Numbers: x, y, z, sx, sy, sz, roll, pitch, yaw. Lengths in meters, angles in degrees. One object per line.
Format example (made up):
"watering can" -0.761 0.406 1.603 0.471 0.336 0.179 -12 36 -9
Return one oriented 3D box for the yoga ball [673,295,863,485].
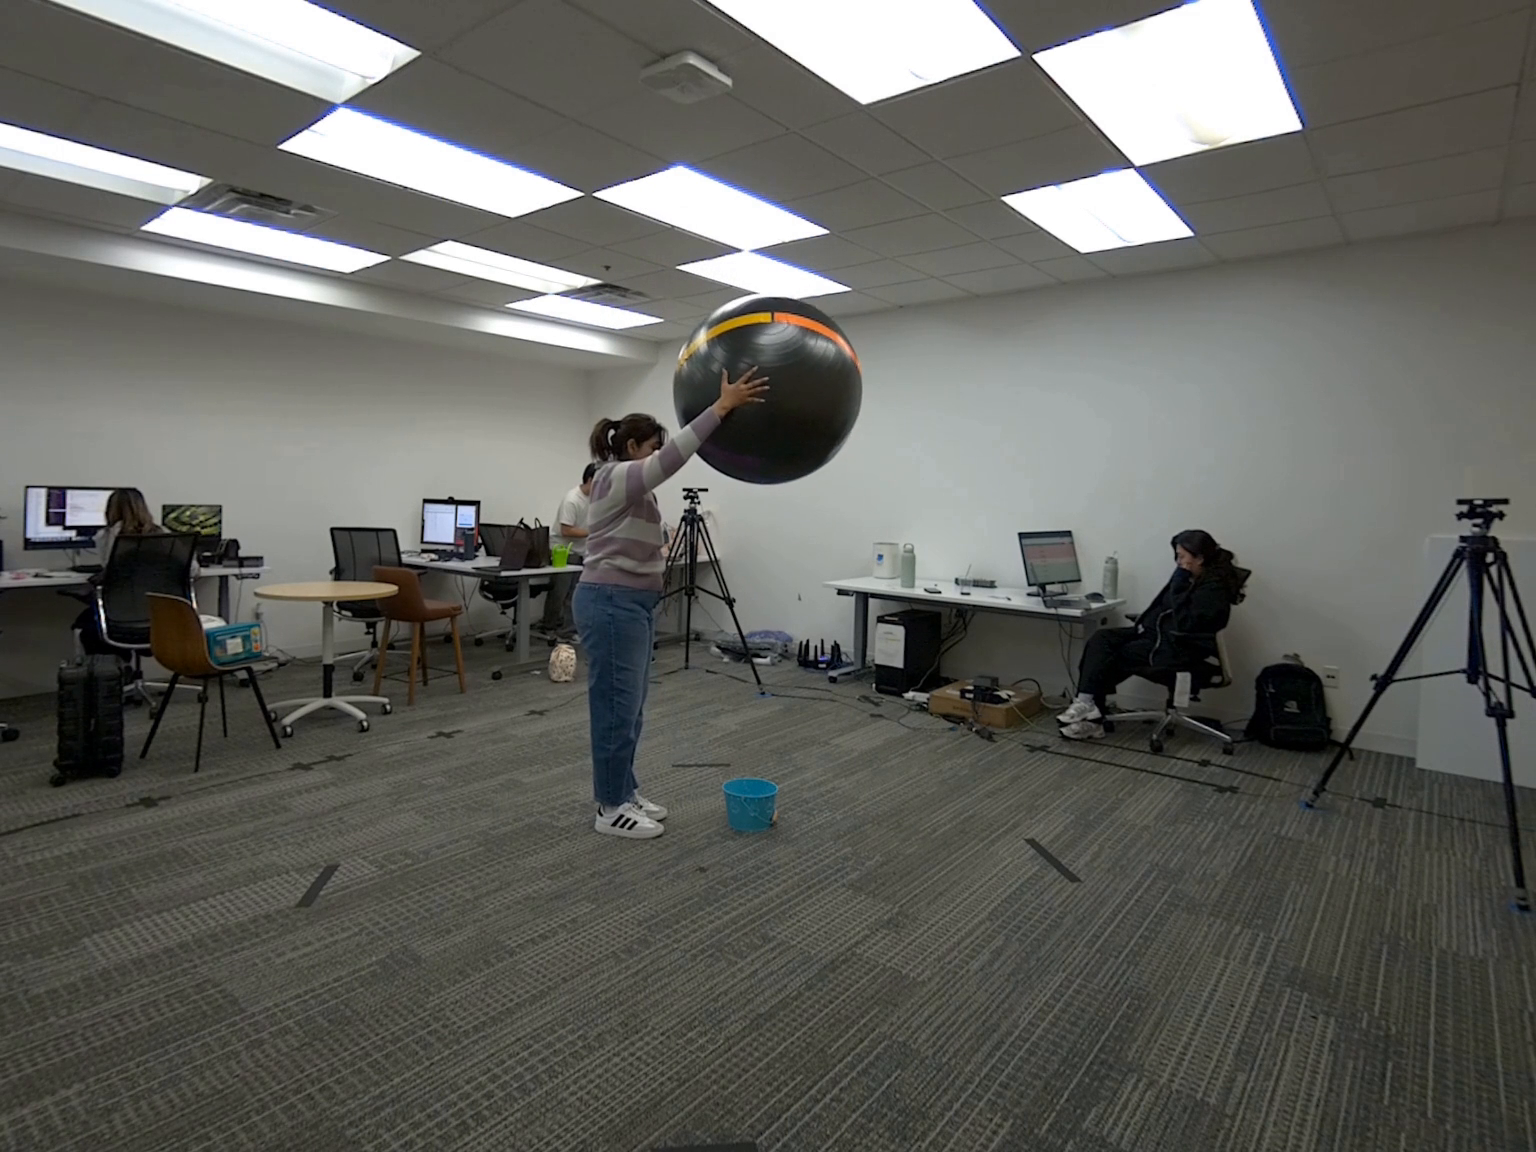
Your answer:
"yoga ball" -0.011 -0.743 3.447 0.757 0.756 0.761 1 4 -2
